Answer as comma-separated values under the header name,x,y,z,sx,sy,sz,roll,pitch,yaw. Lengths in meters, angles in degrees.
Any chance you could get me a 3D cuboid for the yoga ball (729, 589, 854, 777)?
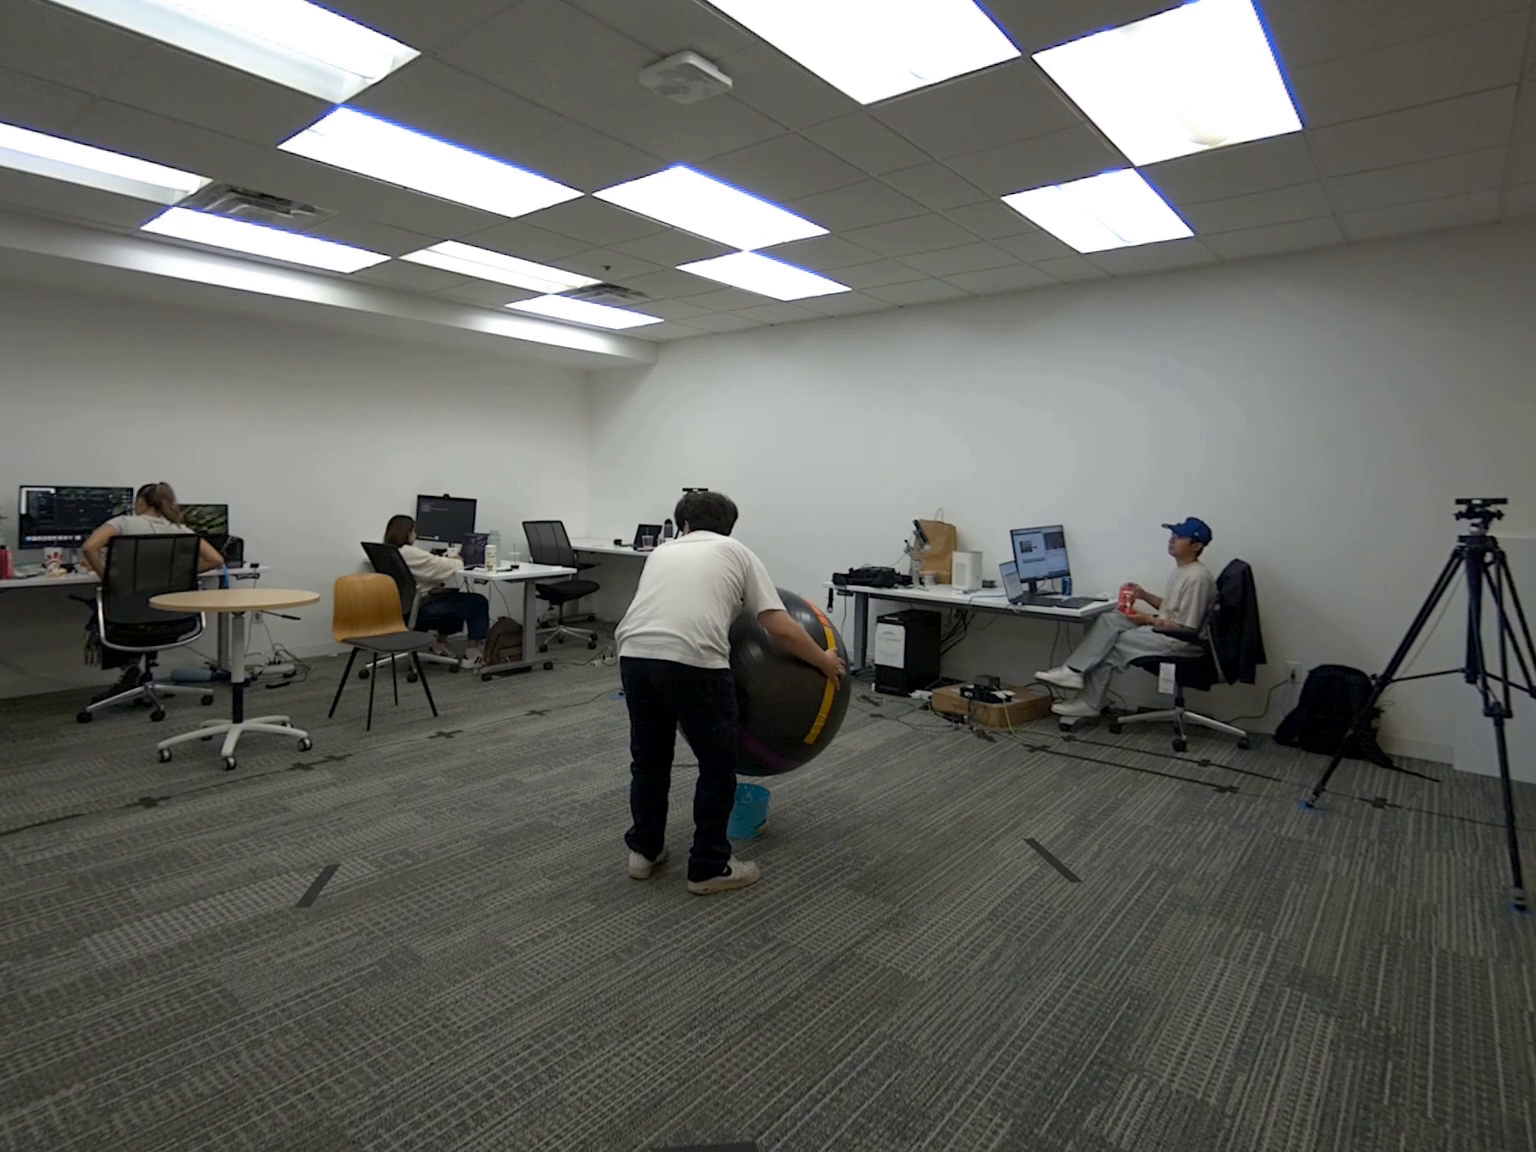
name,x,y,z,sx,sy,sz,roll,pitch,yaw
yoga ball,-0.037,0.416,3.453,0.757,0.755,0.762,1,4,-2
